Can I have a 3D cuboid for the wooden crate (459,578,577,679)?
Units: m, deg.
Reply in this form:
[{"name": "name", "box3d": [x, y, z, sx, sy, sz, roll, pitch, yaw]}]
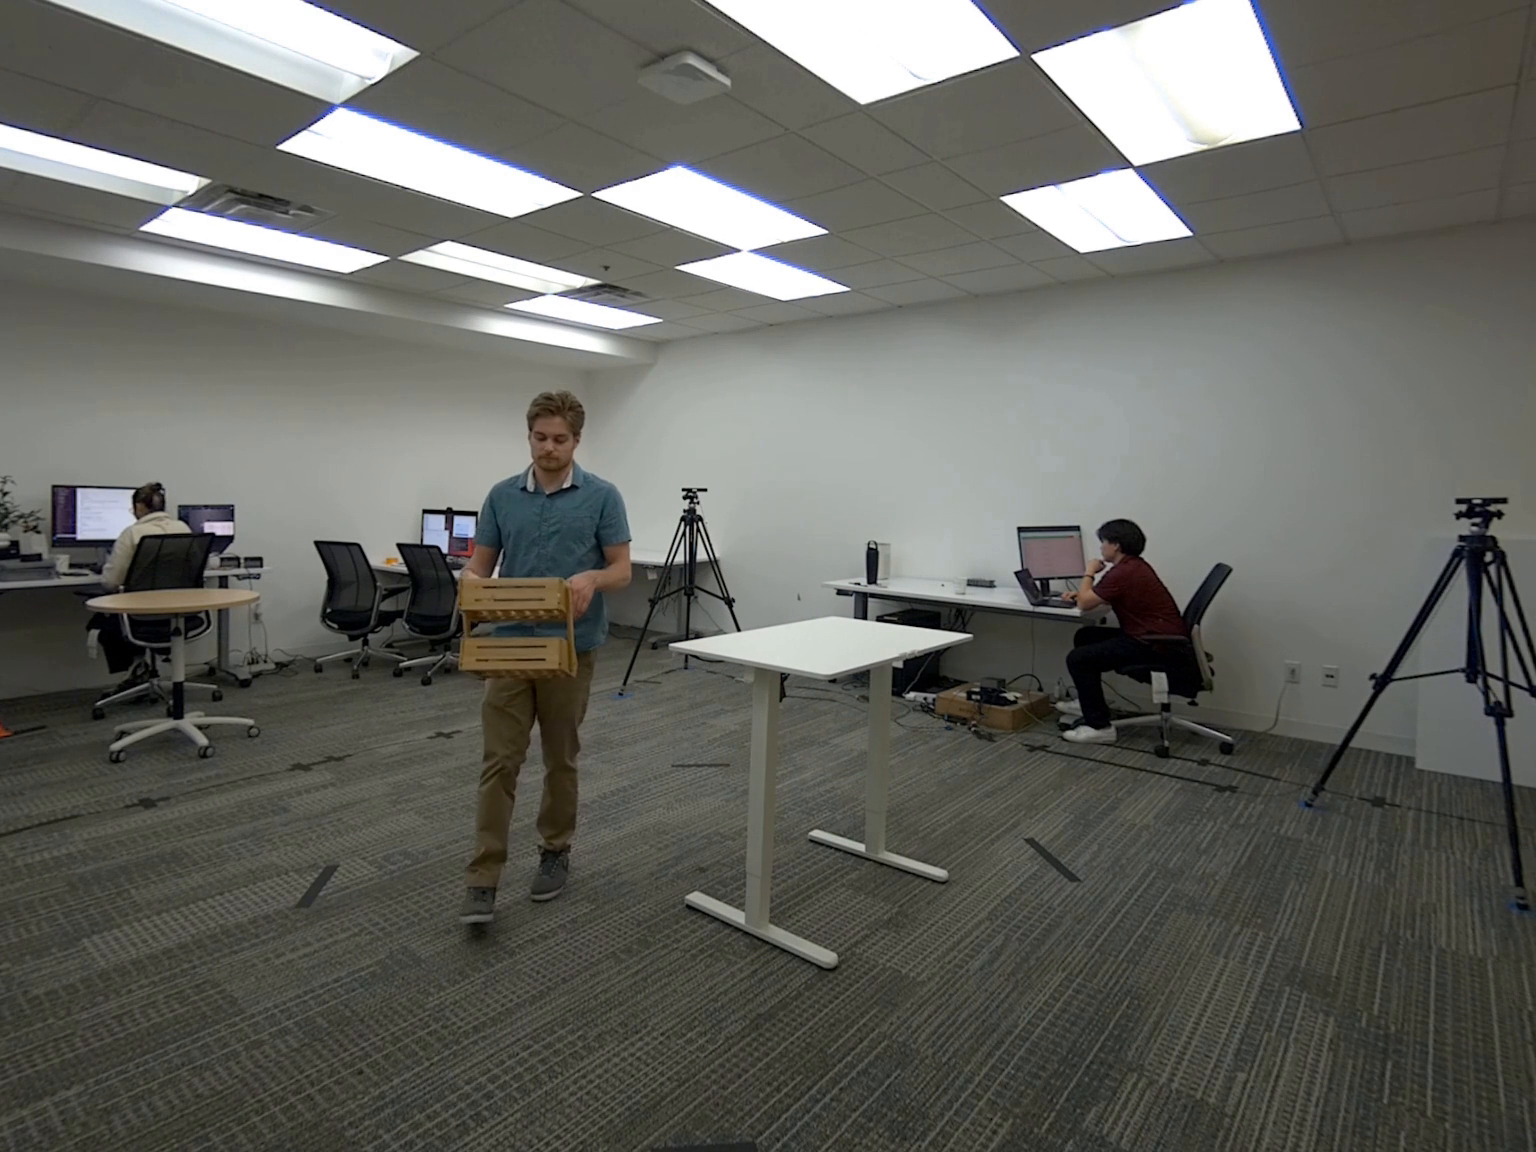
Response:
[{"name": "wooden crate", "box3d": [-0.770, 0.160, 2.591, 0.325, 0.277, 0.298, -1, -14, 0]}]
